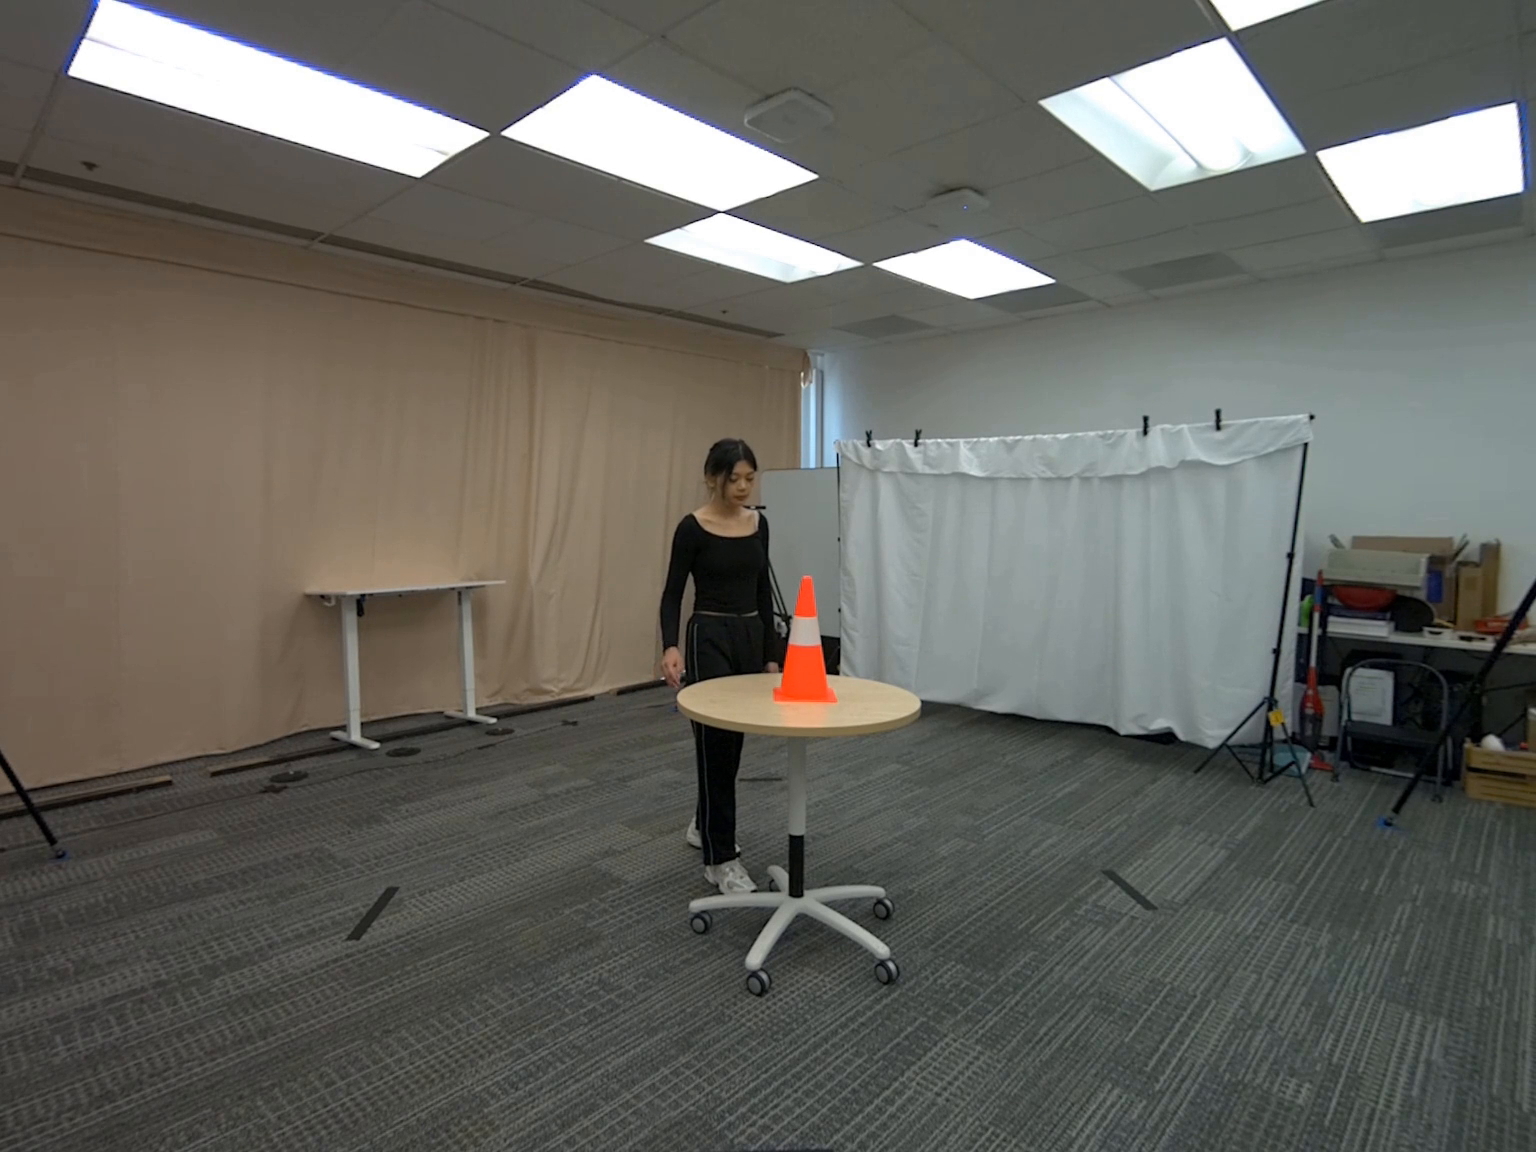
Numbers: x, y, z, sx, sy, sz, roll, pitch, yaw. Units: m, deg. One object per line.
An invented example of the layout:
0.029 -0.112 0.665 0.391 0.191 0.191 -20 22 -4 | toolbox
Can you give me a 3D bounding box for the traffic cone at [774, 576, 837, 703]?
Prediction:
0.132 0.195 2.692 0.205 0.383 0.203 2 3 2 | traffic cone
